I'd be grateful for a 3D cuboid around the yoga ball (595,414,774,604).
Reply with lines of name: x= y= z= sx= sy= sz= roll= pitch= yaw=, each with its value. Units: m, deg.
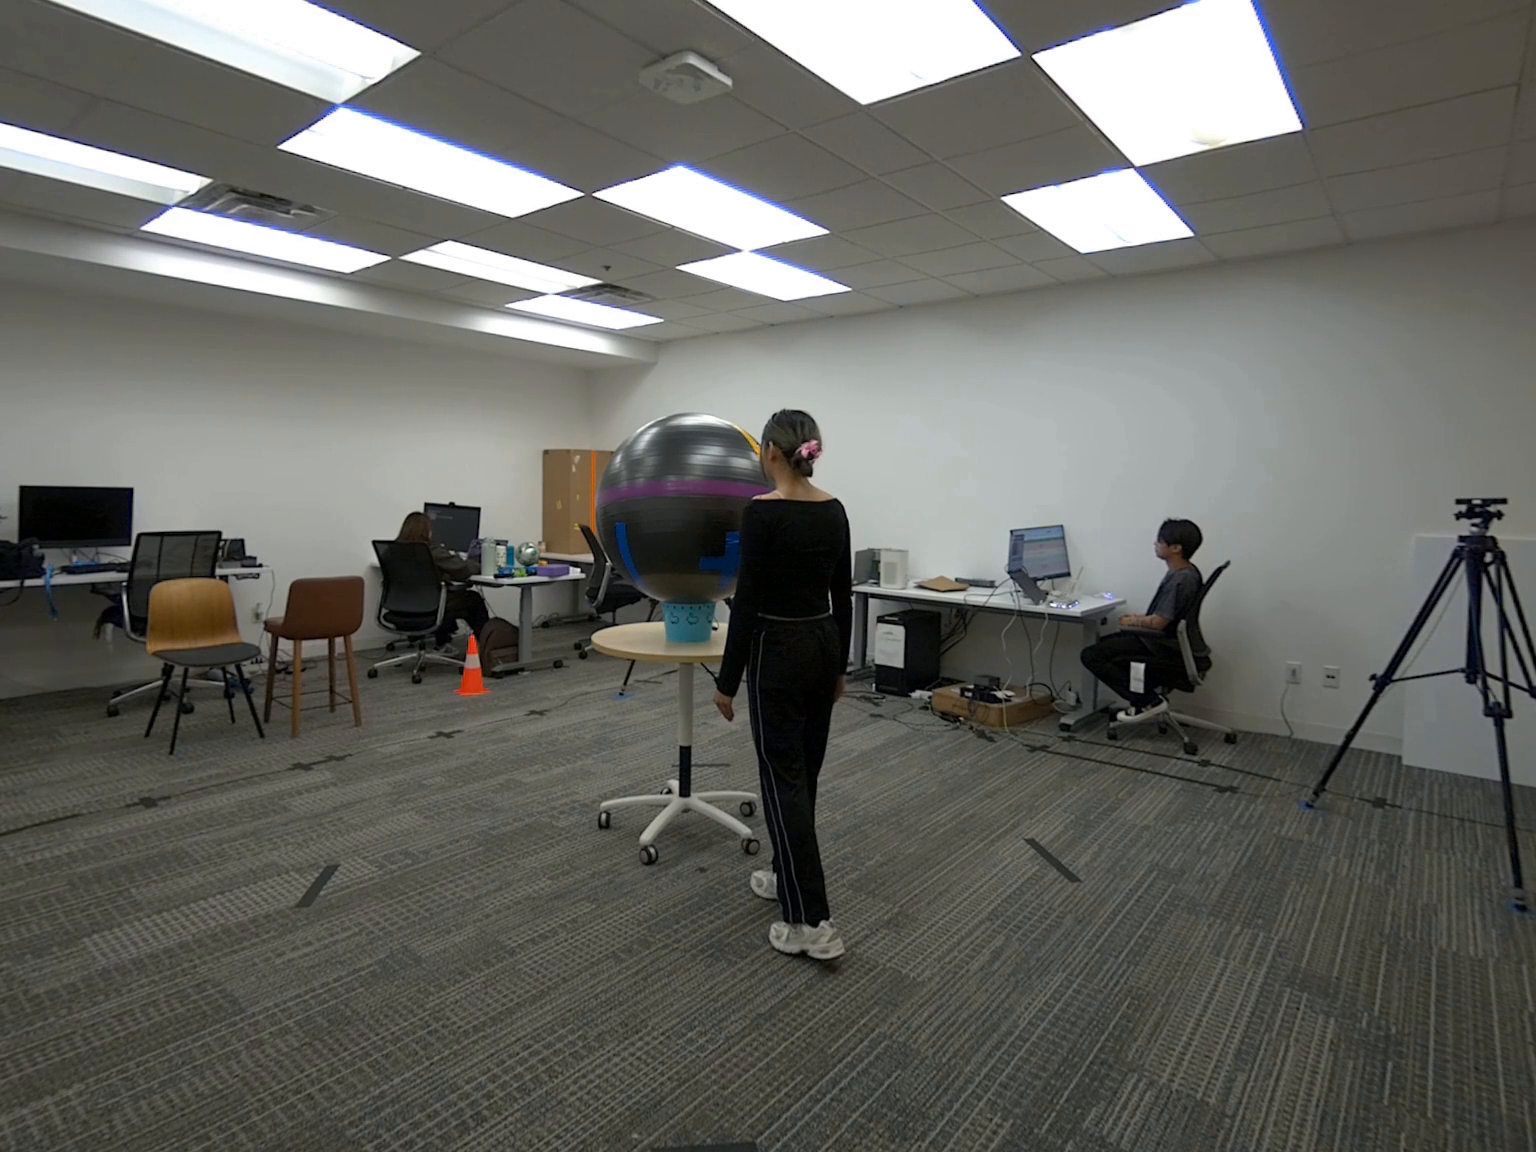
yoga ball: x=-0.310 y=-0.259 z=3.381 sx=0.757 sy=0.756 sz=0.762 roll=1 pitch=4 yaw=-2
